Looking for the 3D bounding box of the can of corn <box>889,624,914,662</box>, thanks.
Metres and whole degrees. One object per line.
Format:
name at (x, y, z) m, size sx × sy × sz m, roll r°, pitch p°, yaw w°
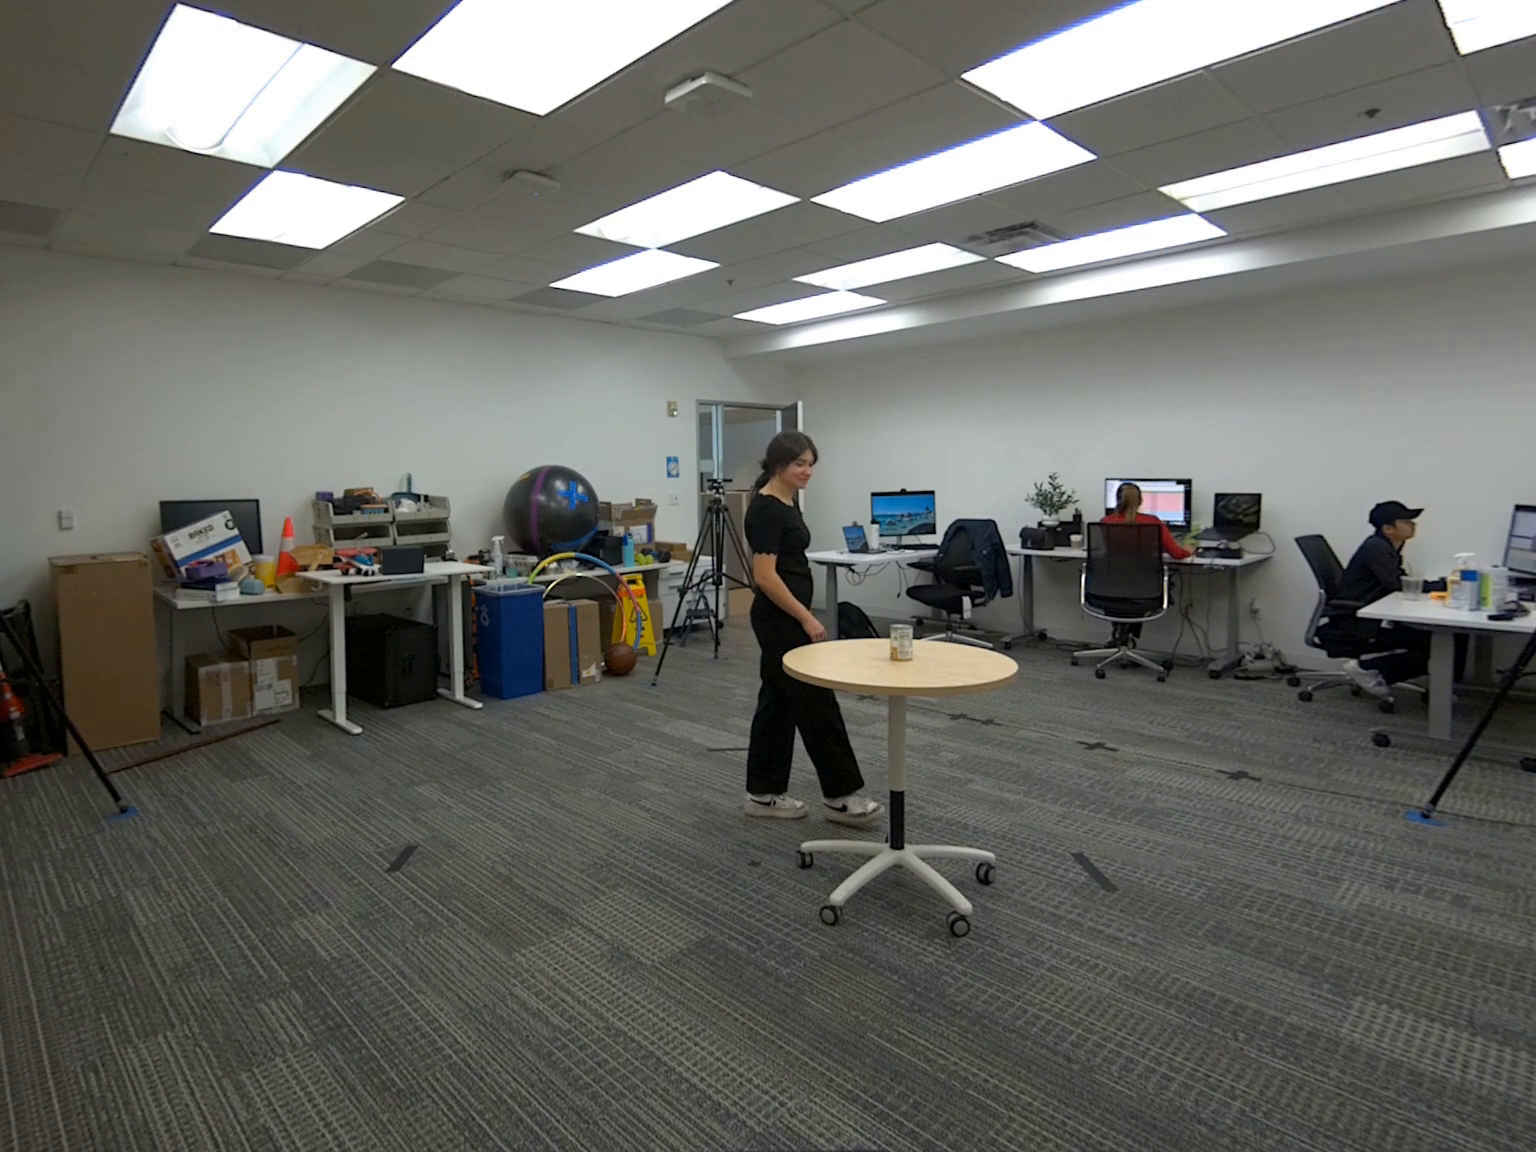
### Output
can of corn at (0.452, 0.225, 2.862) m, size 0.074 × 0.110 × 0.075 m, roll 0°, pitch 6°, yaw -2°
